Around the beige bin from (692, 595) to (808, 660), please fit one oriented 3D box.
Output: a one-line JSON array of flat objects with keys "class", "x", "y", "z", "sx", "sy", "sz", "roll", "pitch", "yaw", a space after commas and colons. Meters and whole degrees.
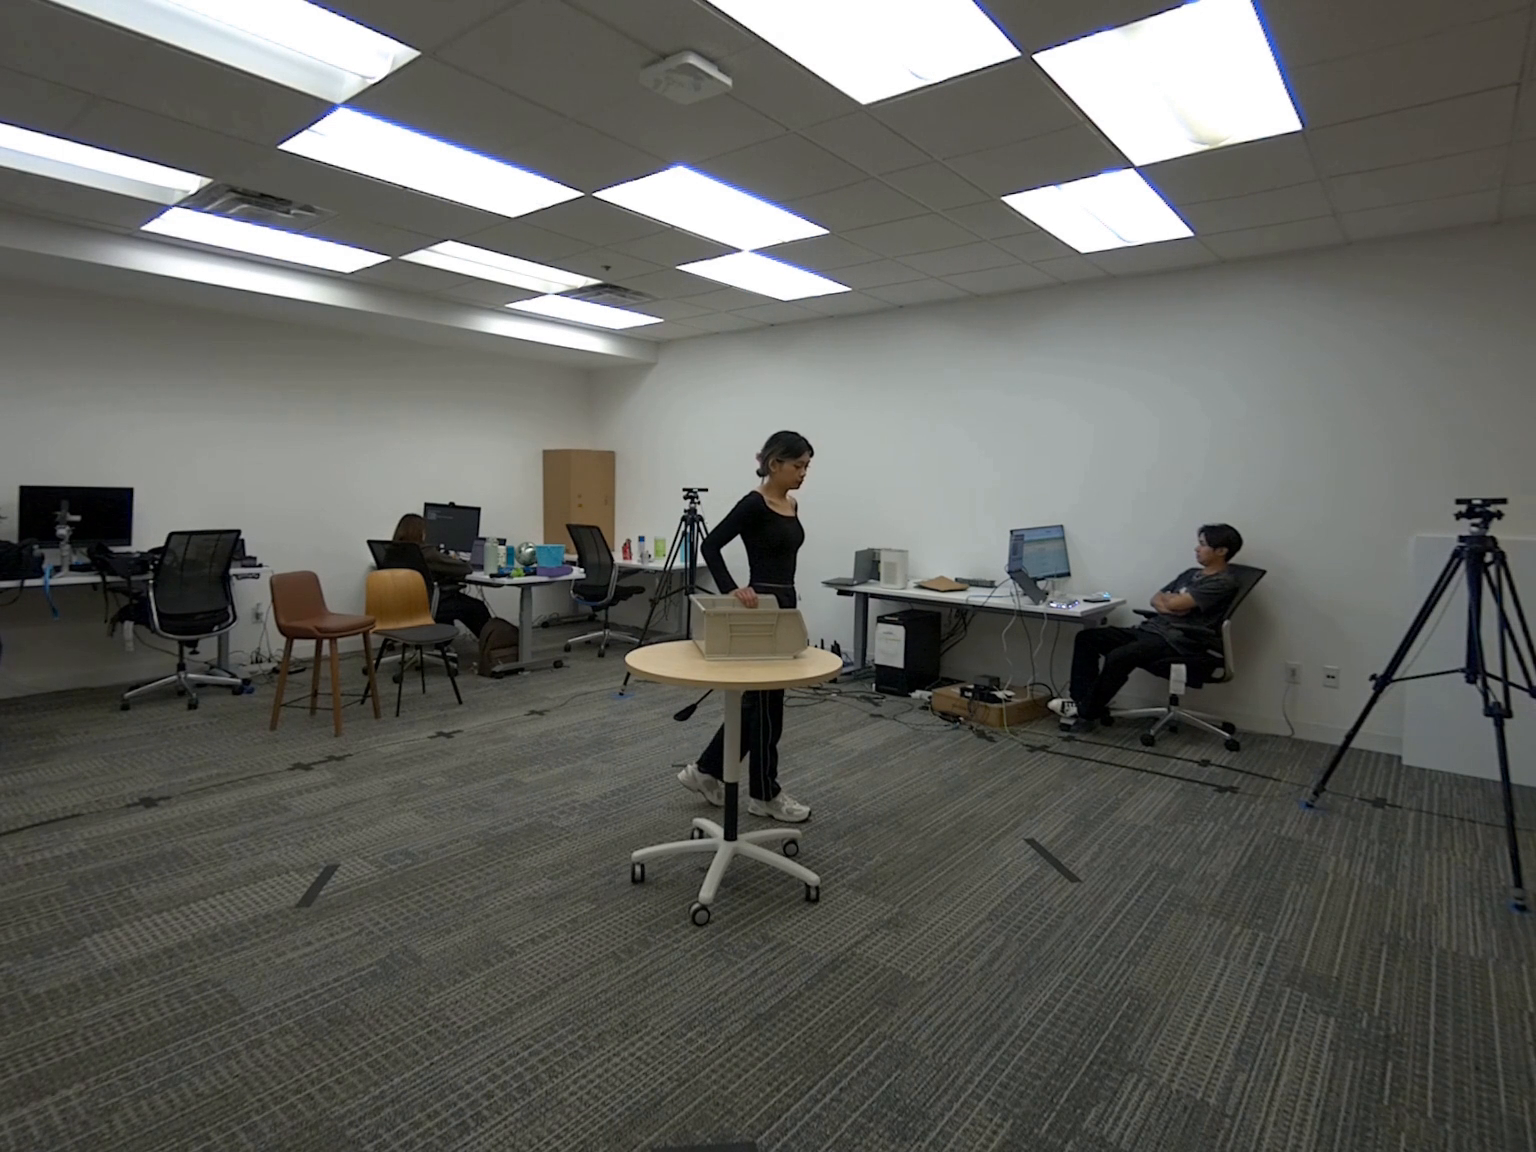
[{"class": "beige bin", "x": -0.082, "y": 0.187, "z": 3.176, "sx": 0.374, "sy": 0.188, "sz": 0.428, "roll": 0, "pitch": 5, "yaw": -10}]
